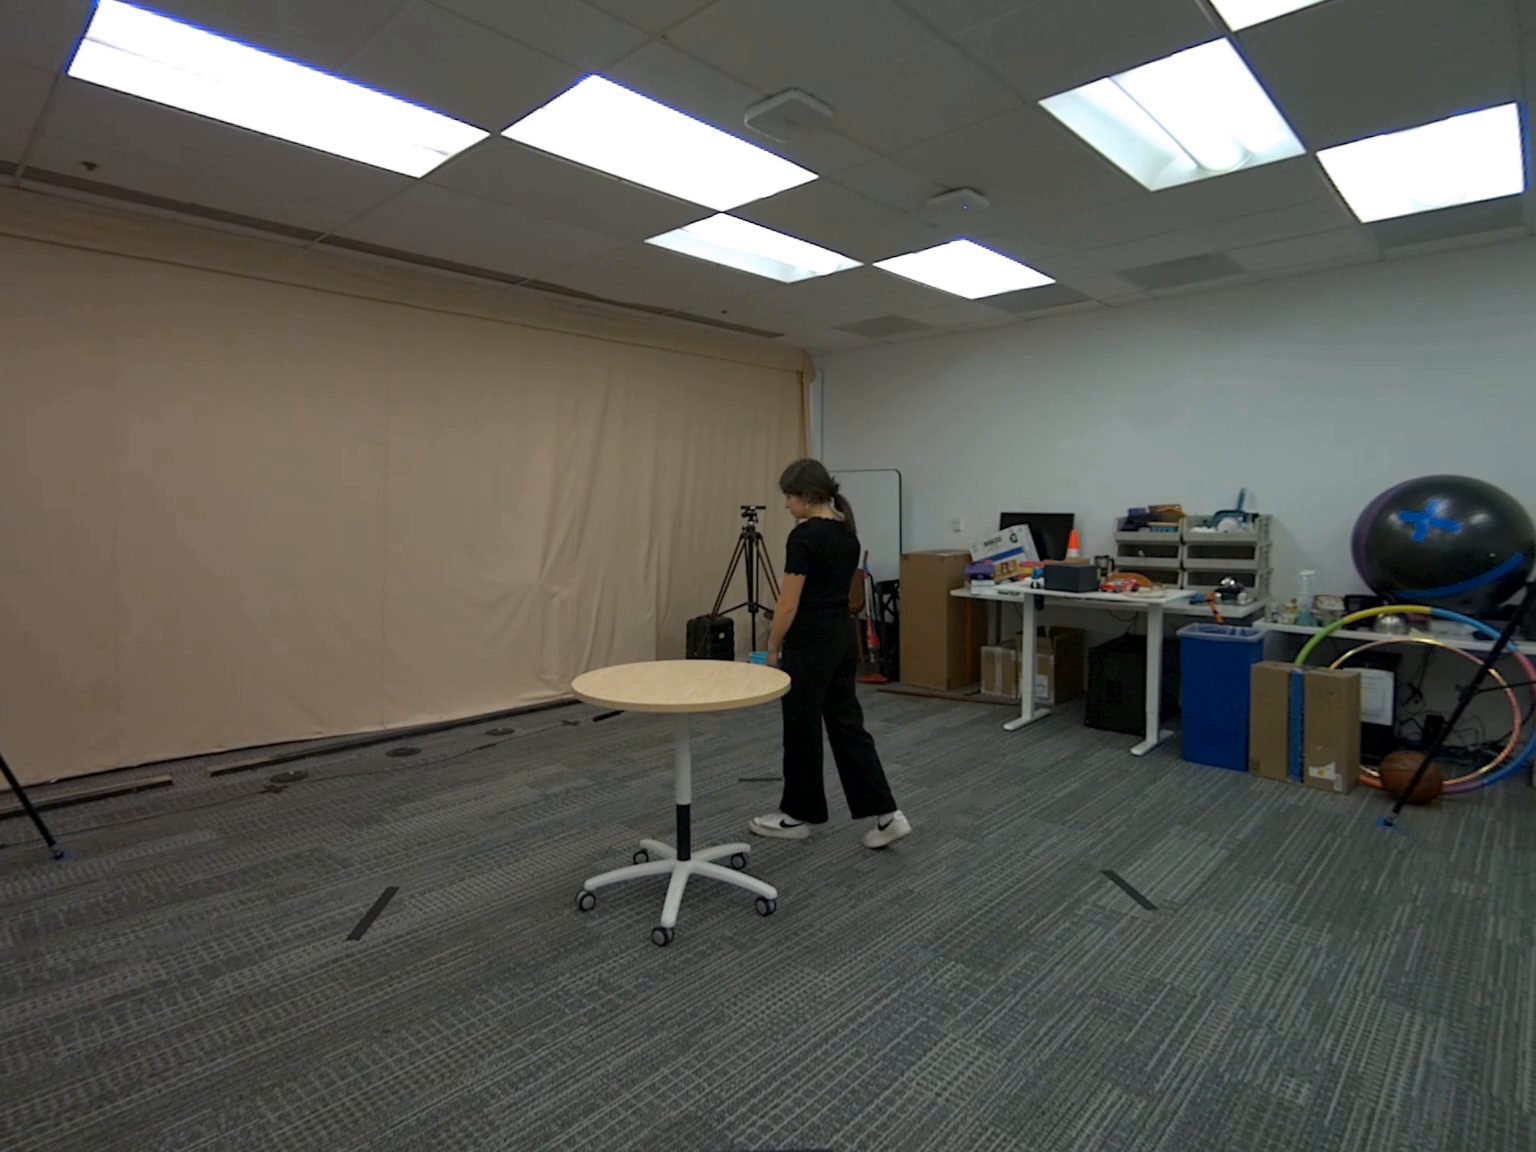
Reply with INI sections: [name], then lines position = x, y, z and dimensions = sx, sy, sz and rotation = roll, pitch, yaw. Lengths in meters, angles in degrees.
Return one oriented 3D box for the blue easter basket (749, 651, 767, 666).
[blue easter basket]
position = 0.056, 0.421, 3.618
dimensions = 0.243, 0.156, 0.244
rotation = 2, 1, -2
